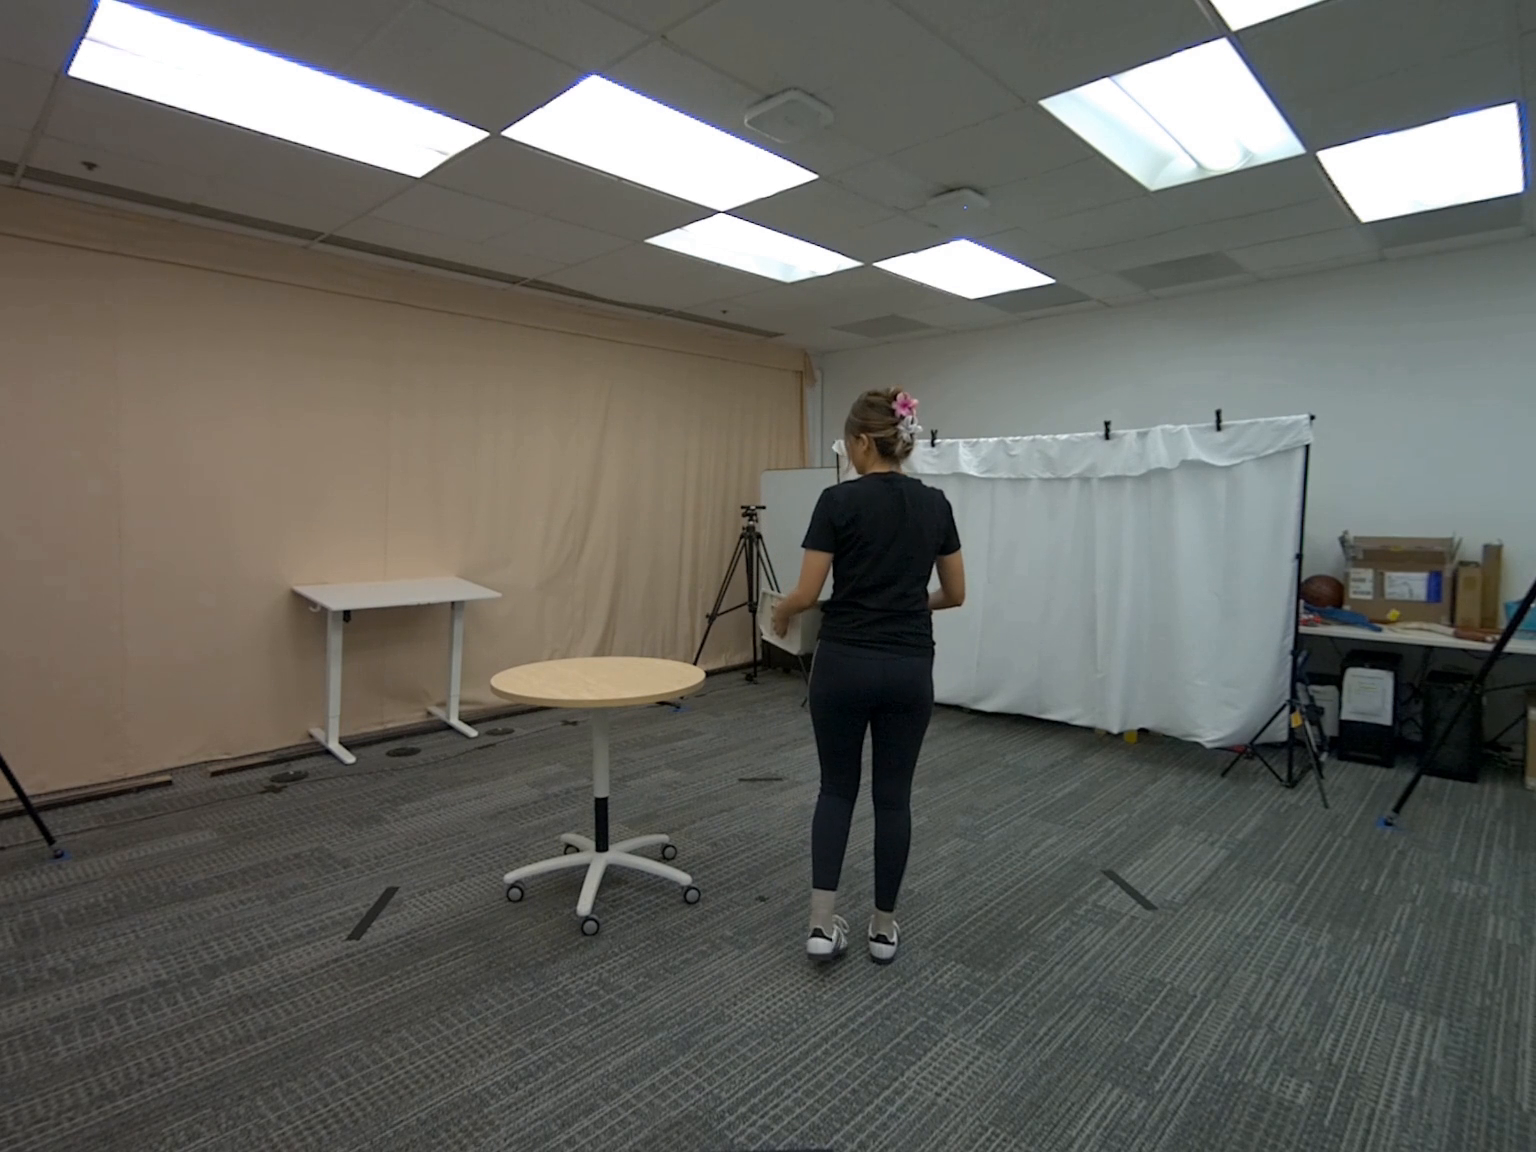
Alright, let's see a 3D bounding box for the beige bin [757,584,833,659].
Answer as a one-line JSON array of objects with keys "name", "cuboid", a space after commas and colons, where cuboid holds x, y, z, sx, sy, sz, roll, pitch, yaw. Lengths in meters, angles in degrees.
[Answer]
[{"name": "beige bin", "cuboid": [0.230, 0.152, 2.909, 0.414, 0.188, 0.385, 2, 5, -18]}]
